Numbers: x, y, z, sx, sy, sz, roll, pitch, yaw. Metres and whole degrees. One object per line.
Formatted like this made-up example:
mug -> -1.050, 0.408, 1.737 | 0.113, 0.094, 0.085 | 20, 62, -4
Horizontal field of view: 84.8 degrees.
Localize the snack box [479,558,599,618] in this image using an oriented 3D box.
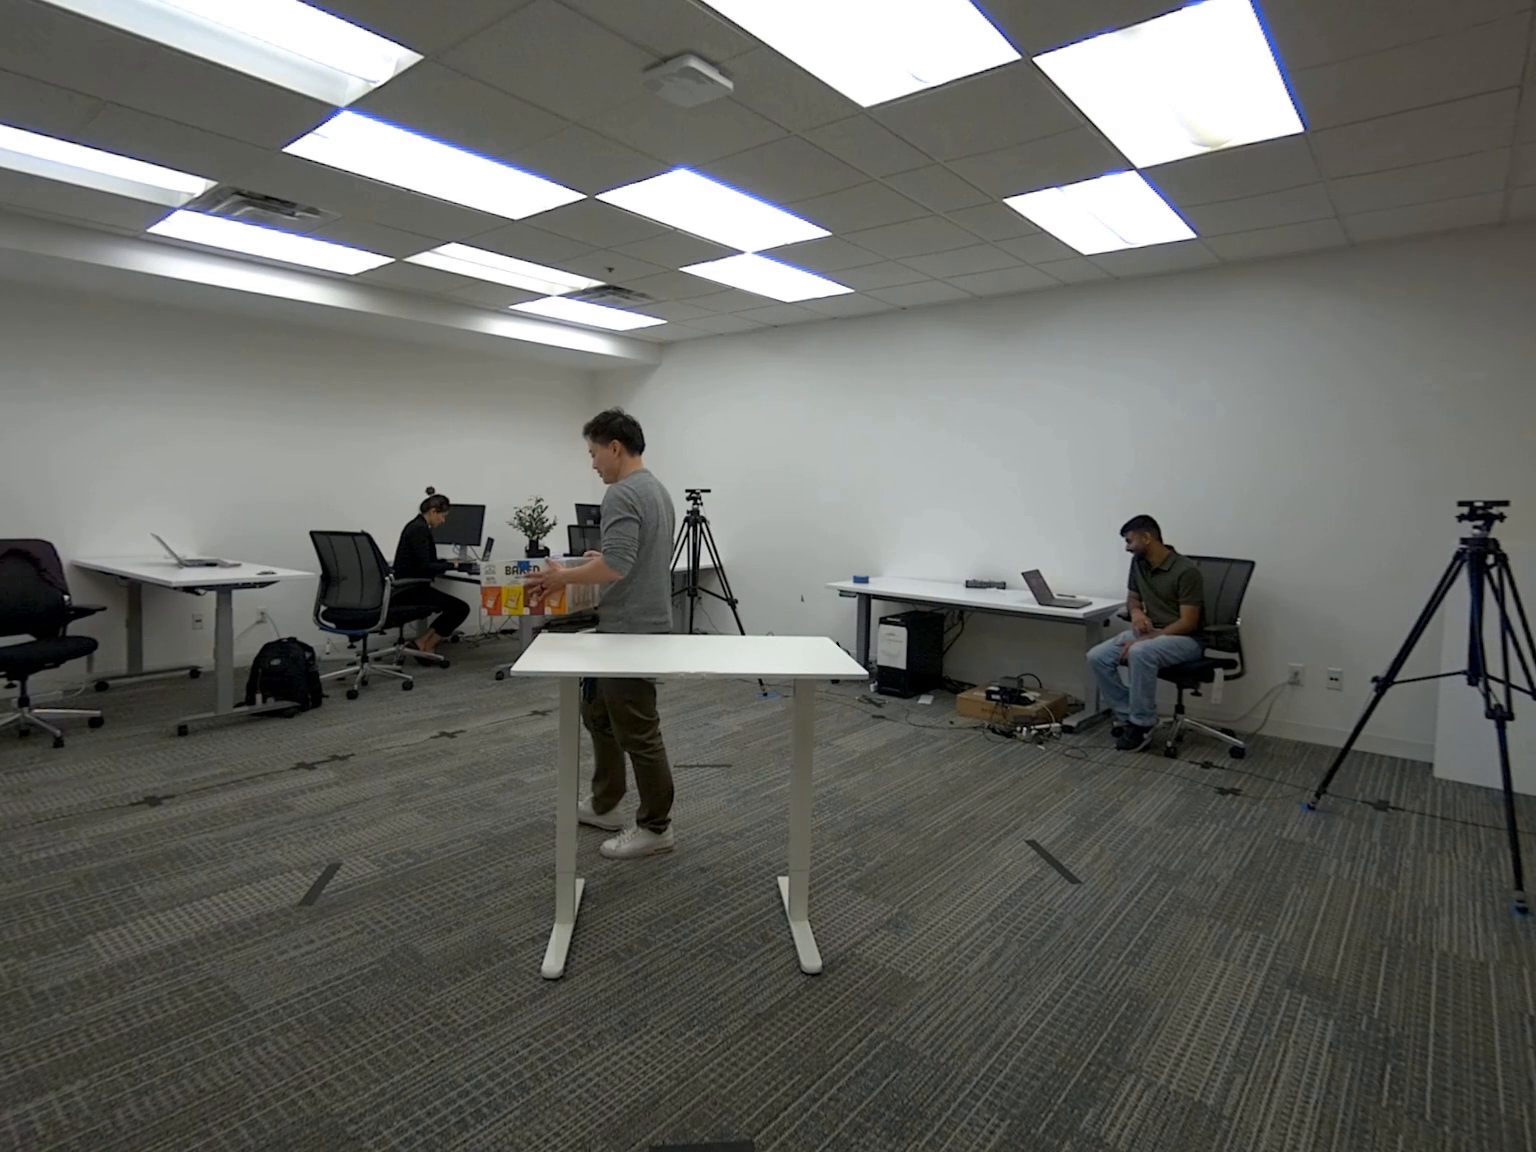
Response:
snack box -> -0.898, 0.035, 3.346 | 0.344, 0.205, 0.402 | -1, 3, 9
